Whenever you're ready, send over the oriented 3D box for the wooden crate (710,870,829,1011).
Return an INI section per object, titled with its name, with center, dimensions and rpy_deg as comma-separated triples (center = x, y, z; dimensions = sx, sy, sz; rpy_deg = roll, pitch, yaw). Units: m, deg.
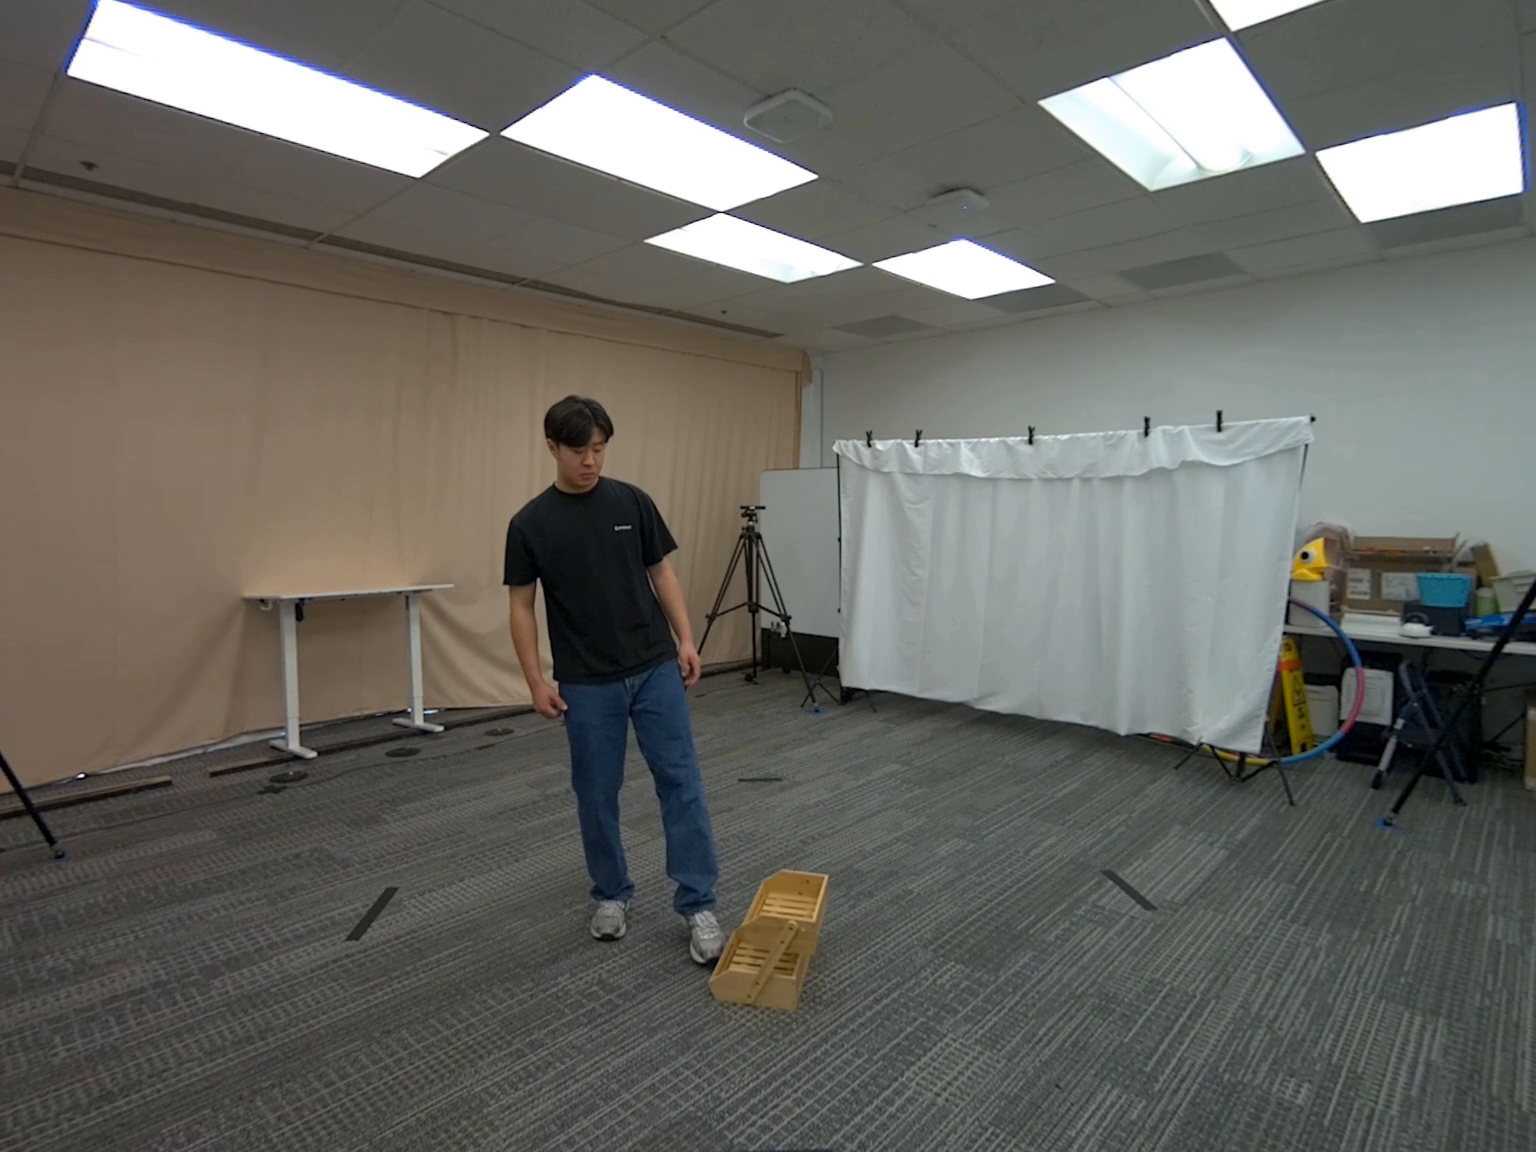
[wooden crate]
center = 0.010, 1.054, 2.474
dimensions = 0.306, 0.273, 0.320
rpy_deg = 1, 4, 12
